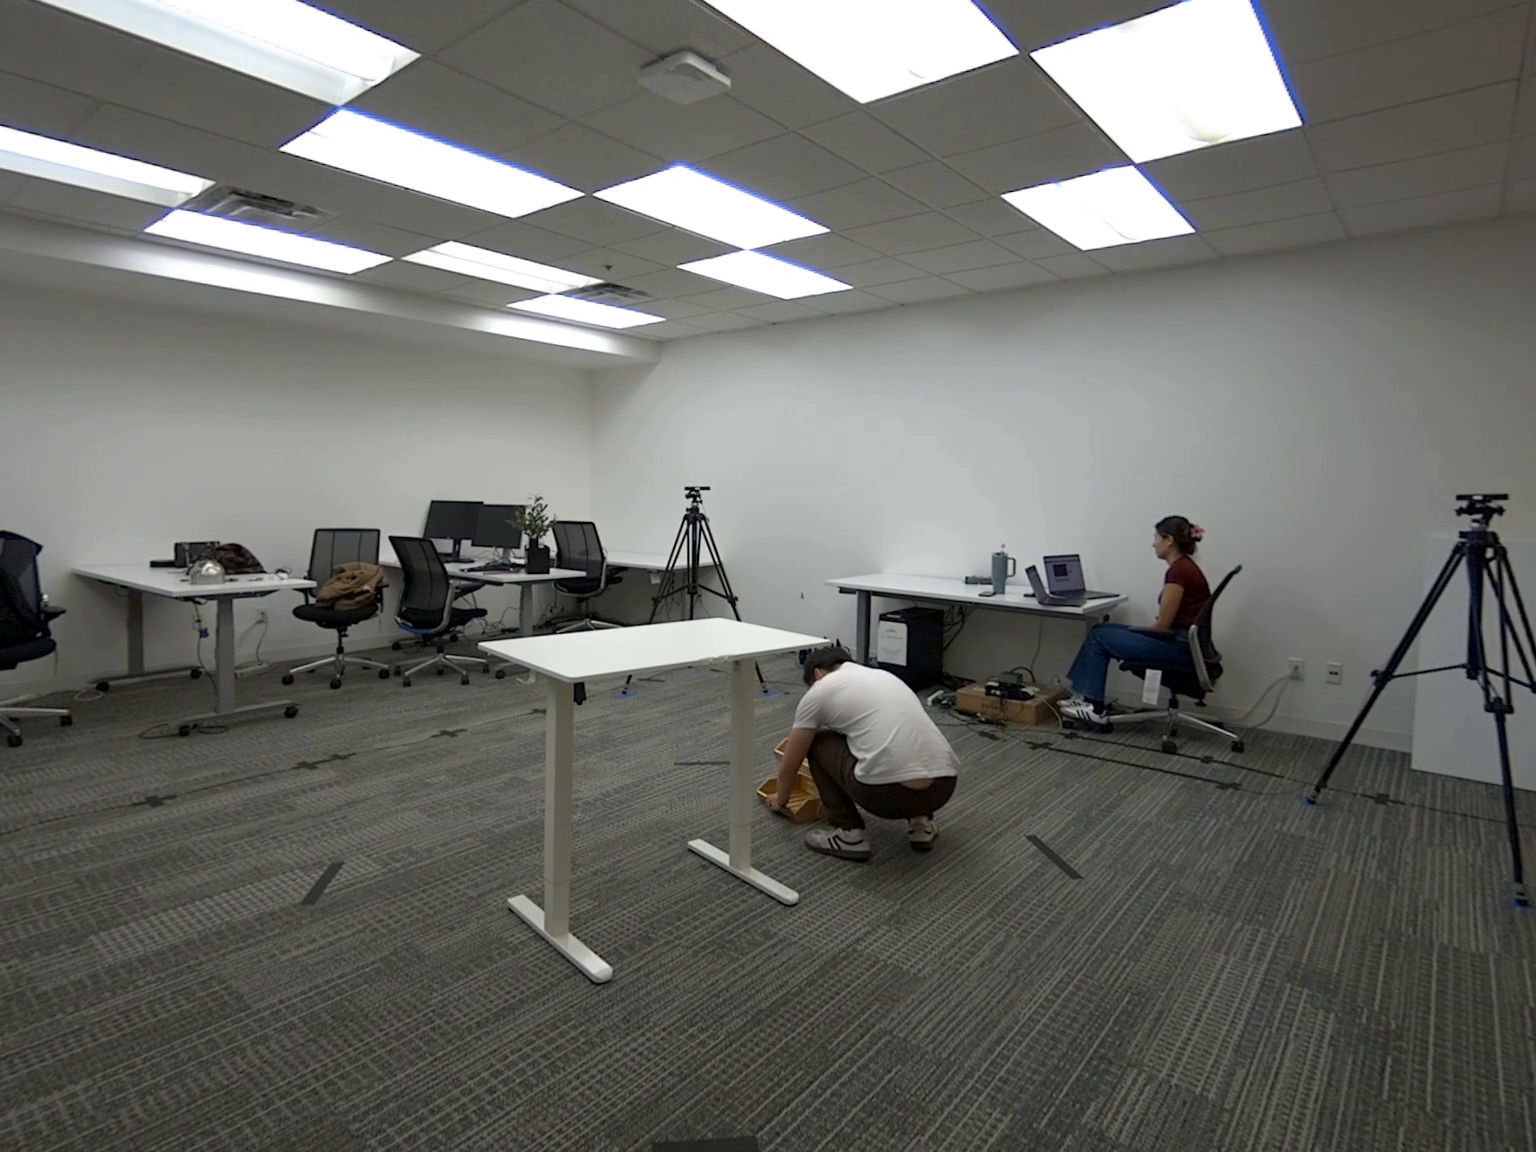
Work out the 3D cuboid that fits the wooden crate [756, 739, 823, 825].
[{"bbox_3d":[0.144,0.868,3.728,0.293,0.272,0.335,-2,6,-33],"label":"wooden crate"}]
